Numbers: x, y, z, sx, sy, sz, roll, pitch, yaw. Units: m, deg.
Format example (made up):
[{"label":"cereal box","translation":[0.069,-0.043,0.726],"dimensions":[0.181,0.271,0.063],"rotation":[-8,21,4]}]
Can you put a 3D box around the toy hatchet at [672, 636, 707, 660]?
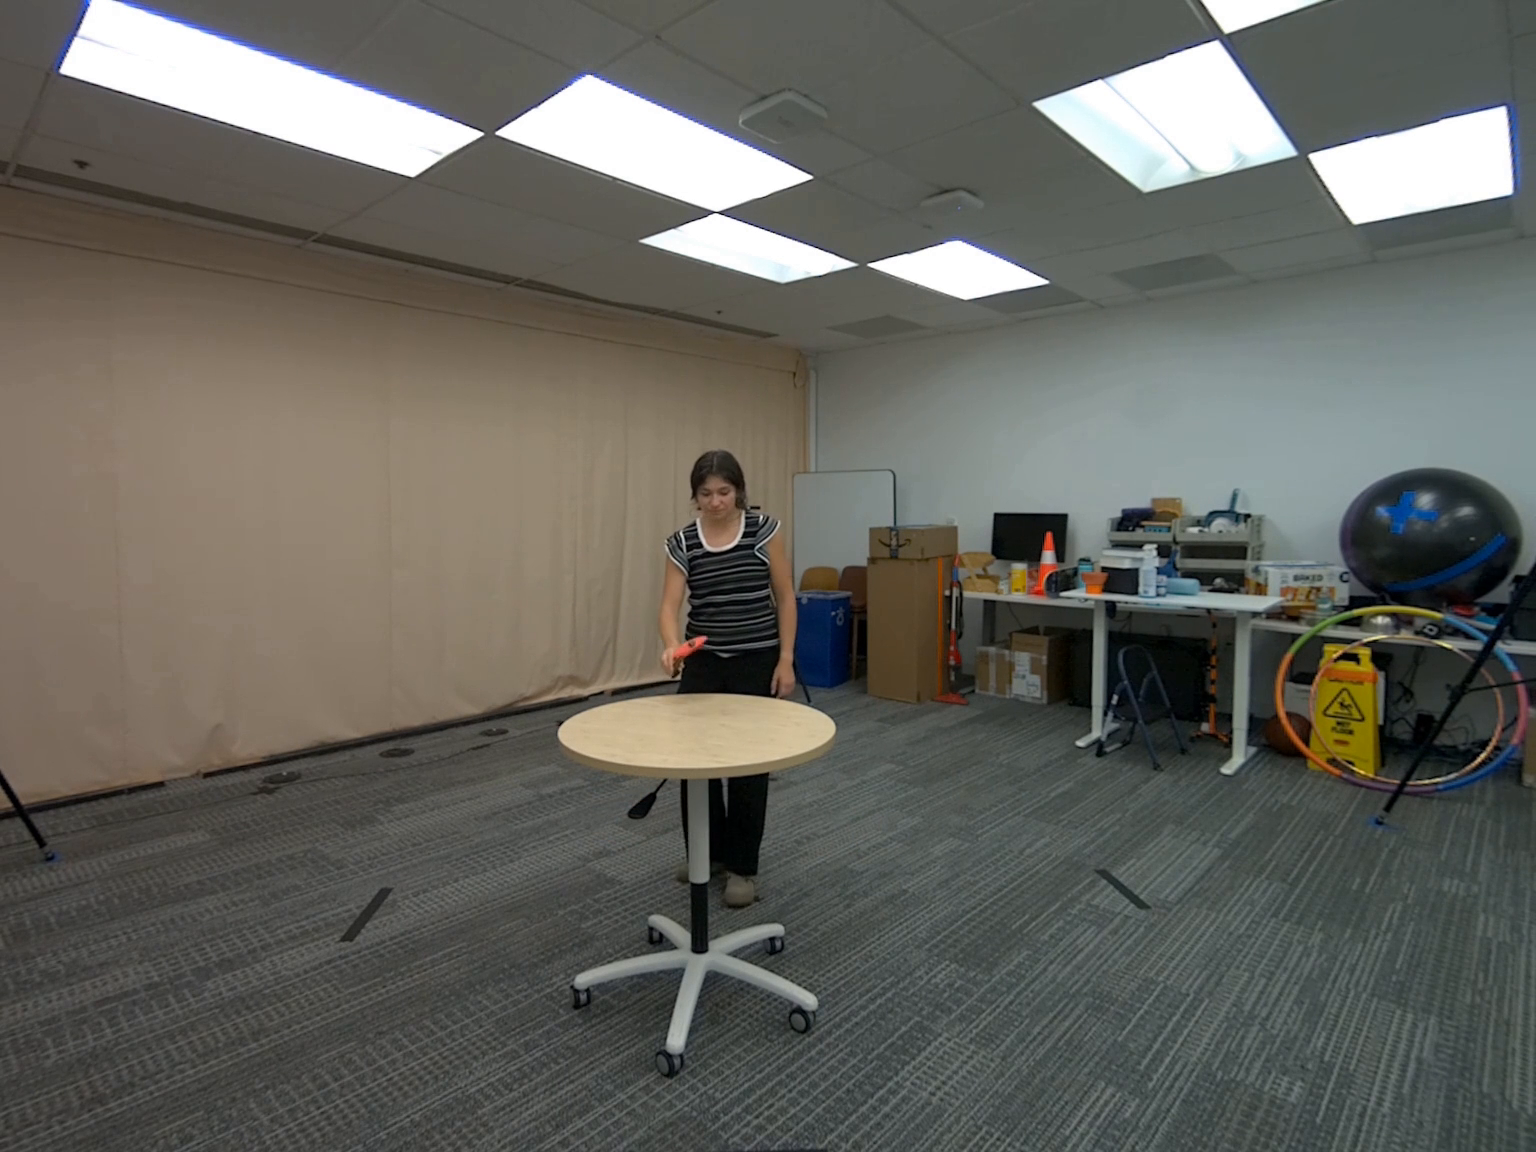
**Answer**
[{"label":"toy hatchet","translation":[-0.257,0.256,2.635],"dimensions":[0.130,0.030,0.268],"rotation":[-35,-12,-18]}]
